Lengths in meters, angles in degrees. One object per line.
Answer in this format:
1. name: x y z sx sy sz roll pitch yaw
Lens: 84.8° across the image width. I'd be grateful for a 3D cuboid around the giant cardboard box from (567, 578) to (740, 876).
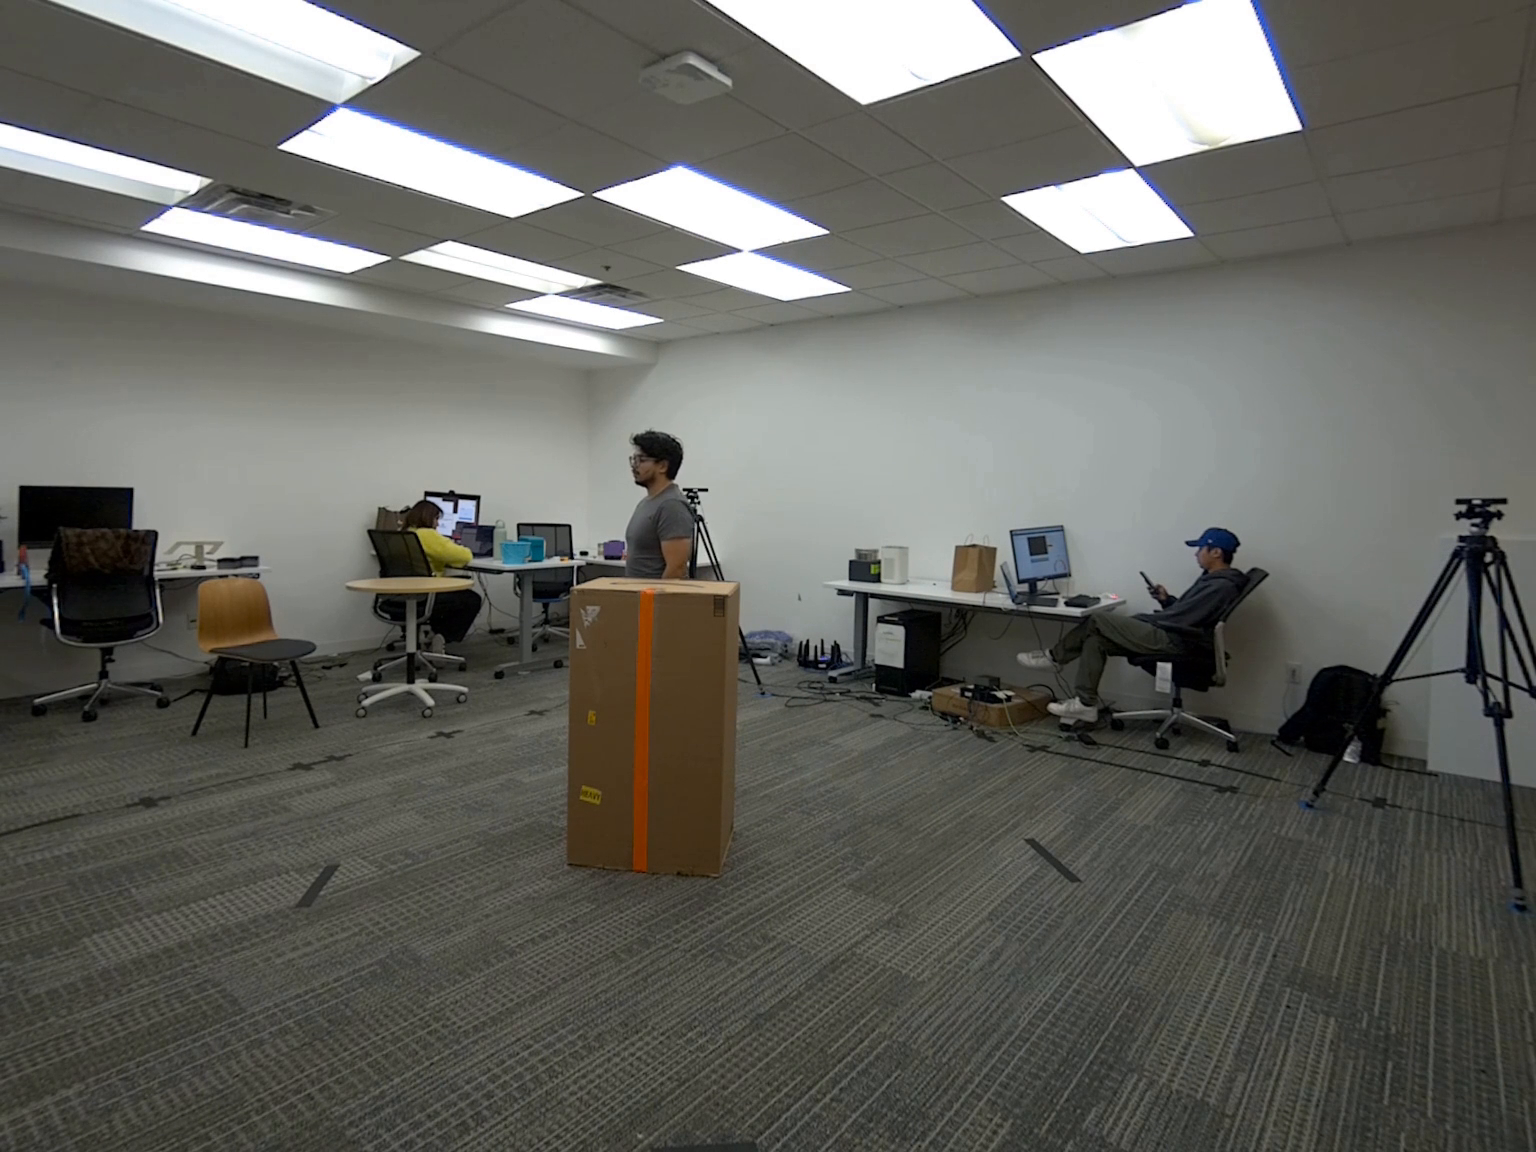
1. giant cardboard box: -0.433 0.541 3.261 0.583 1.023 0.424 2 3 7
